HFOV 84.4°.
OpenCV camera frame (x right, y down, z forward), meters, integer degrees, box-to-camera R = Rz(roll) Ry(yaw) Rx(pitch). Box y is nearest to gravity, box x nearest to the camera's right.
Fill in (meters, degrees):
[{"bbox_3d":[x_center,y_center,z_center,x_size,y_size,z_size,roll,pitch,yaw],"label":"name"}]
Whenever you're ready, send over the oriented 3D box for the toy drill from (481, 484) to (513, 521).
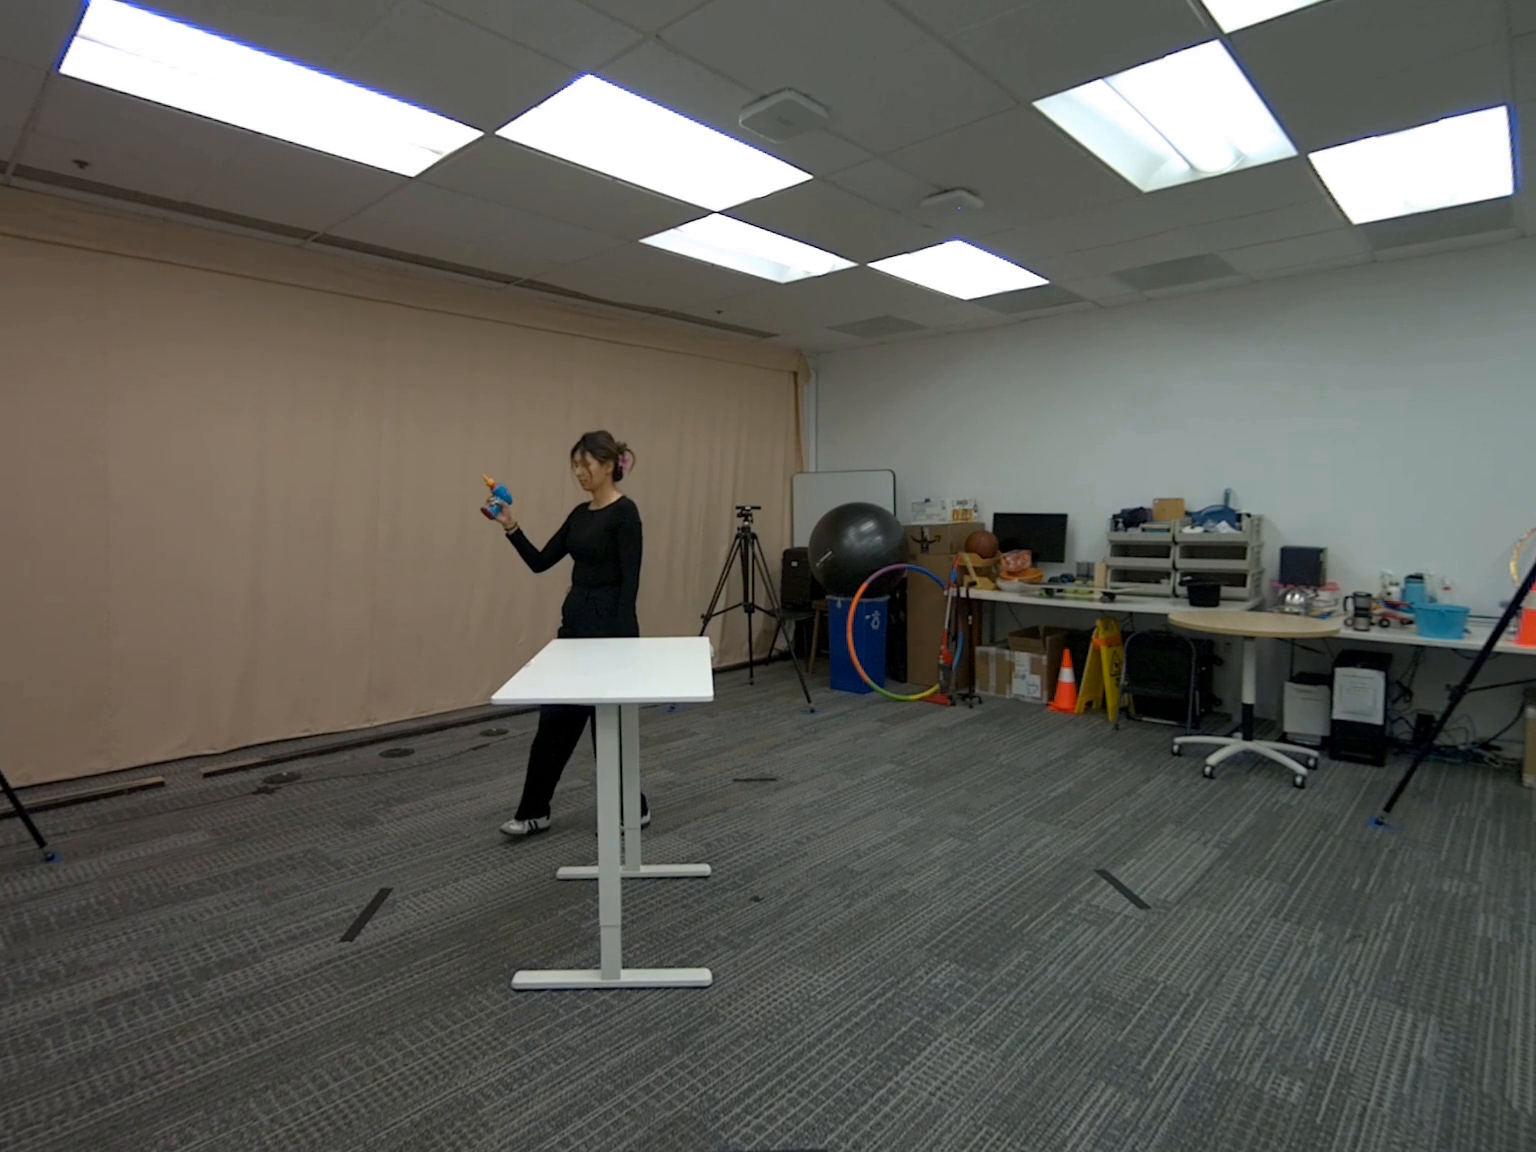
[{"bbox_3d":[-1.157,-0.332,3.501,0.063,0.165,0.146,-10,39,51],"label":"toy drill"}]
